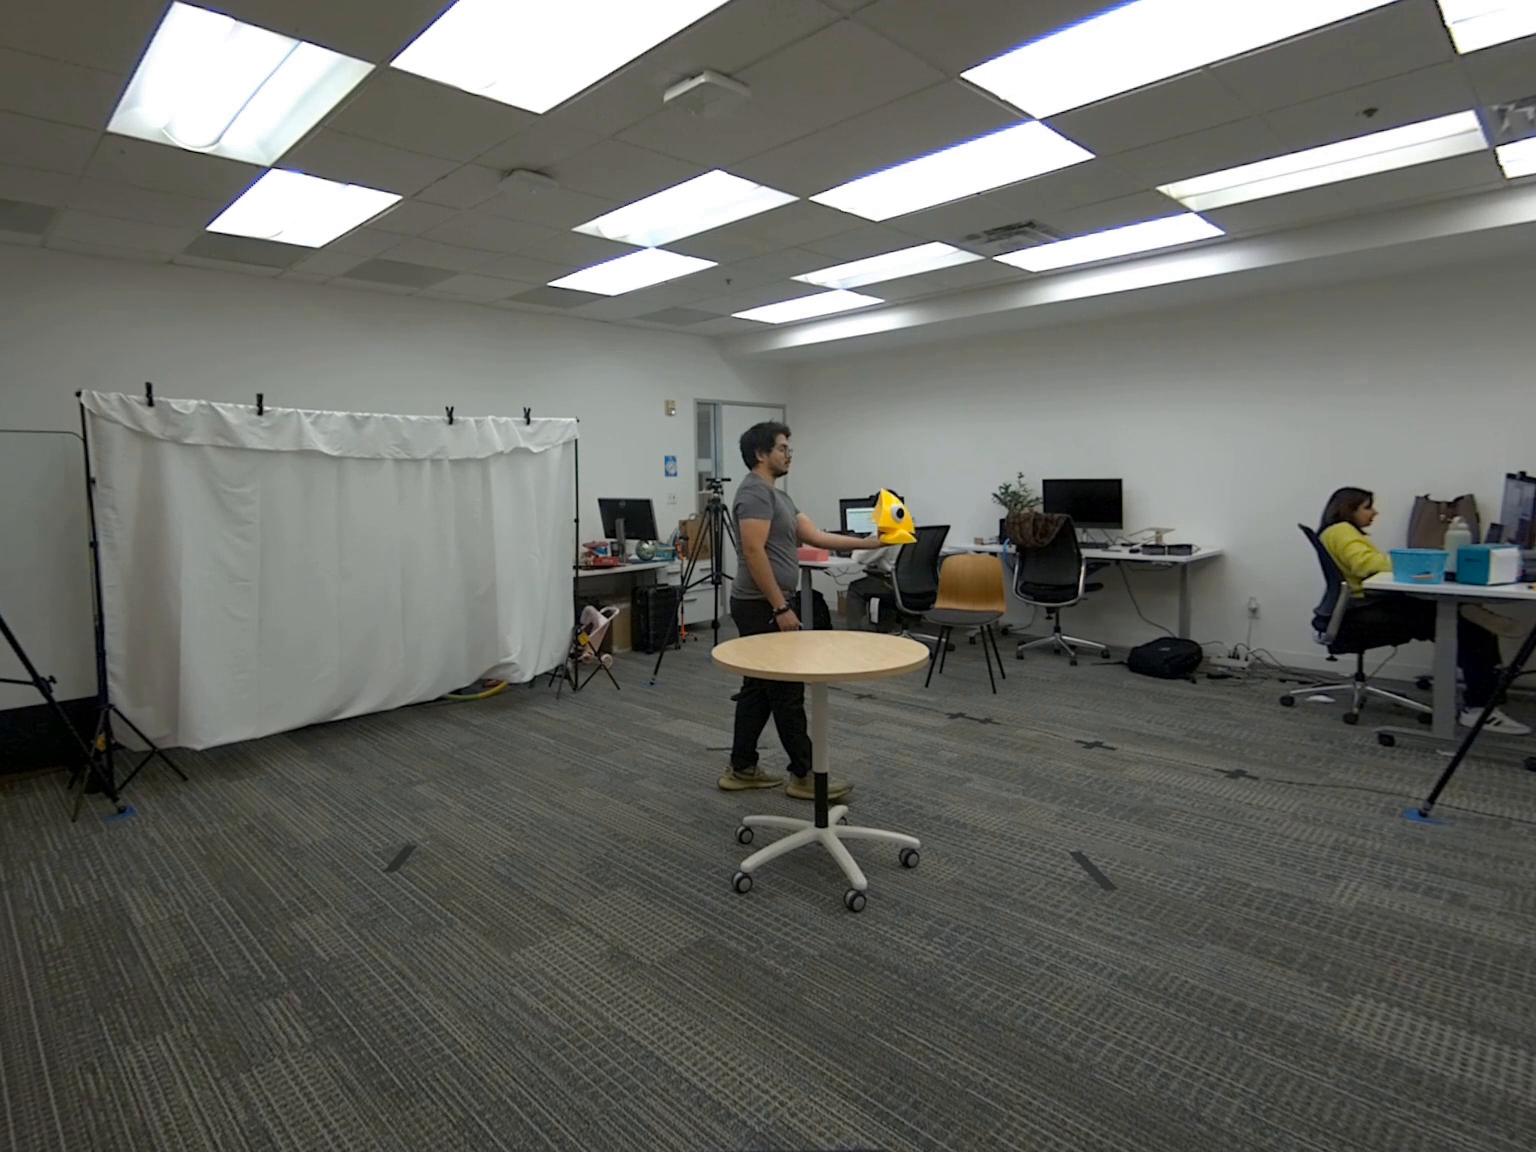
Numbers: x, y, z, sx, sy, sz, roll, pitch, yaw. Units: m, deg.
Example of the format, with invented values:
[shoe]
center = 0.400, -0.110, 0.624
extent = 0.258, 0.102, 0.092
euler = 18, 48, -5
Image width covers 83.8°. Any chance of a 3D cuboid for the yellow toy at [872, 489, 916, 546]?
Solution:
[yellow toy]
center = 0.564, -0.281, 3.848
extent = 0.193, 0.228, 0.207
euler = -1, 11, -3
